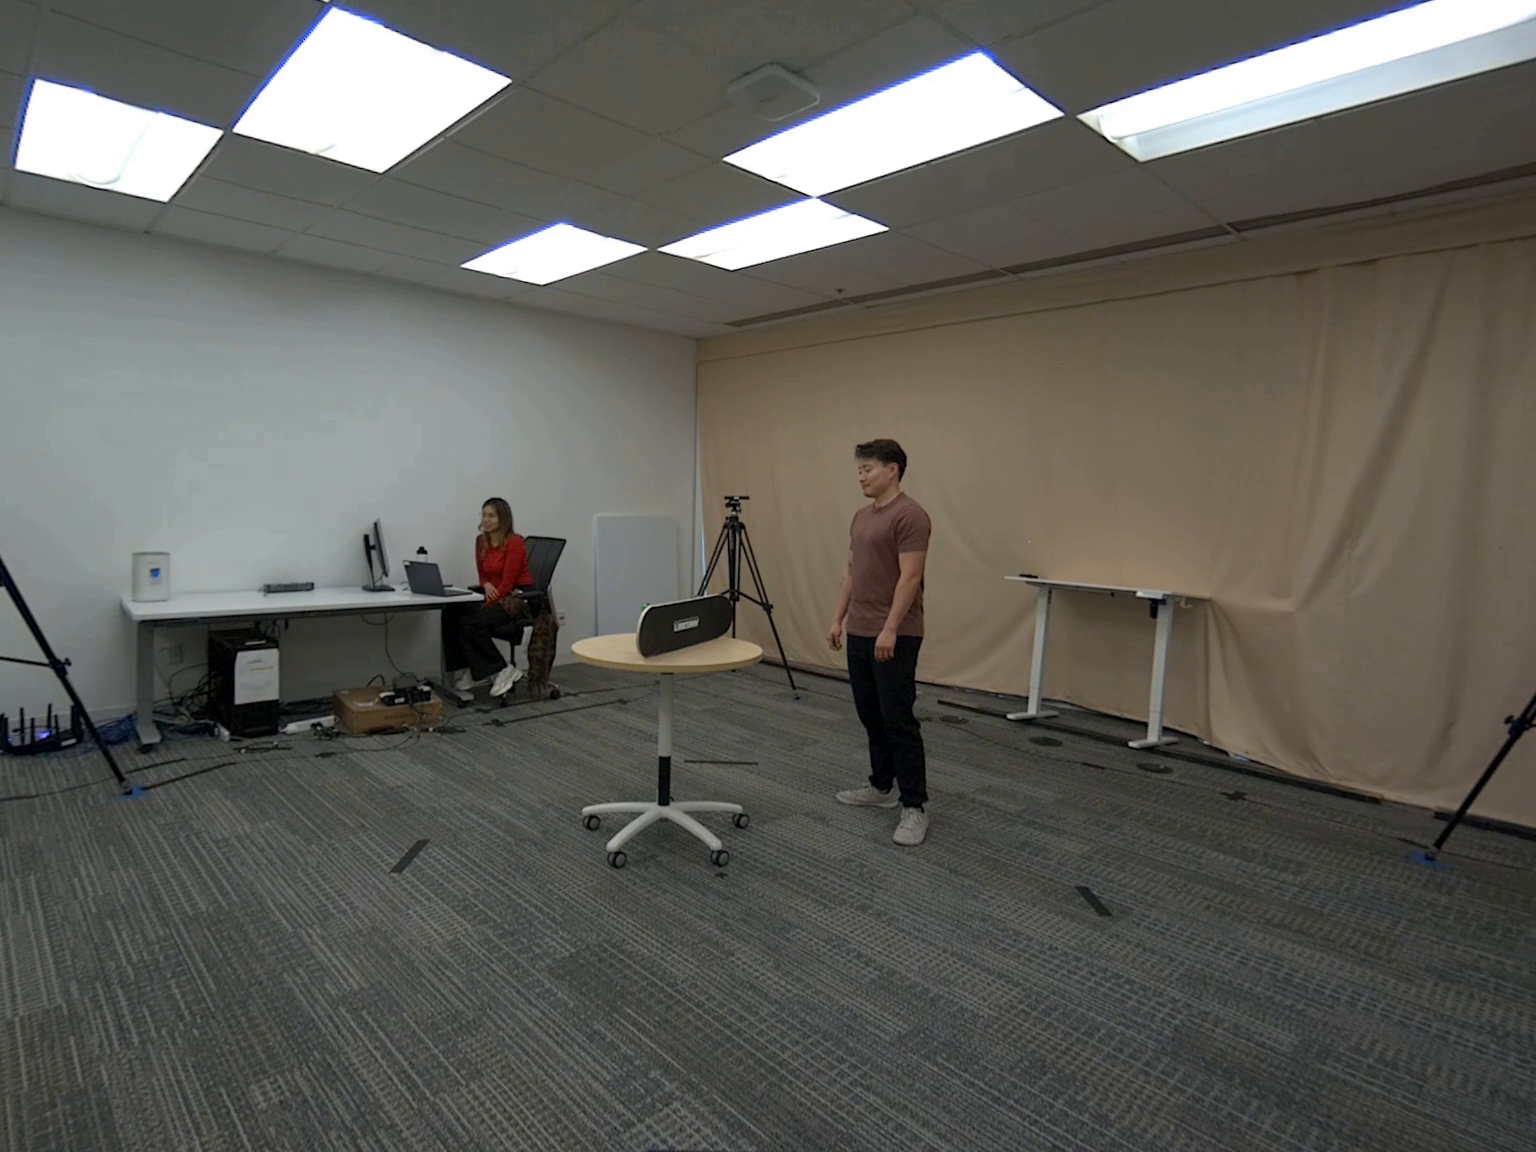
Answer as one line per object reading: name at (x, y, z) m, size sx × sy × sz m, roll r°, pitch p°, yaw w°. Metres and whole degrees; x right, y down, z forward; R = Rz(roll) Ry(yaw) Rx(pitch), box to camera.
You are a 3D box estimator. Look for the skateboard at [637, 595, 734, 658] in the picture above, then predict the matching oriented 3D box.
skateboard at (-0.363, 0.193, 3.391) m, size 0.112 × 0.193 × 0.772 m, roll 1°, pitch 4°, yaw 24°
